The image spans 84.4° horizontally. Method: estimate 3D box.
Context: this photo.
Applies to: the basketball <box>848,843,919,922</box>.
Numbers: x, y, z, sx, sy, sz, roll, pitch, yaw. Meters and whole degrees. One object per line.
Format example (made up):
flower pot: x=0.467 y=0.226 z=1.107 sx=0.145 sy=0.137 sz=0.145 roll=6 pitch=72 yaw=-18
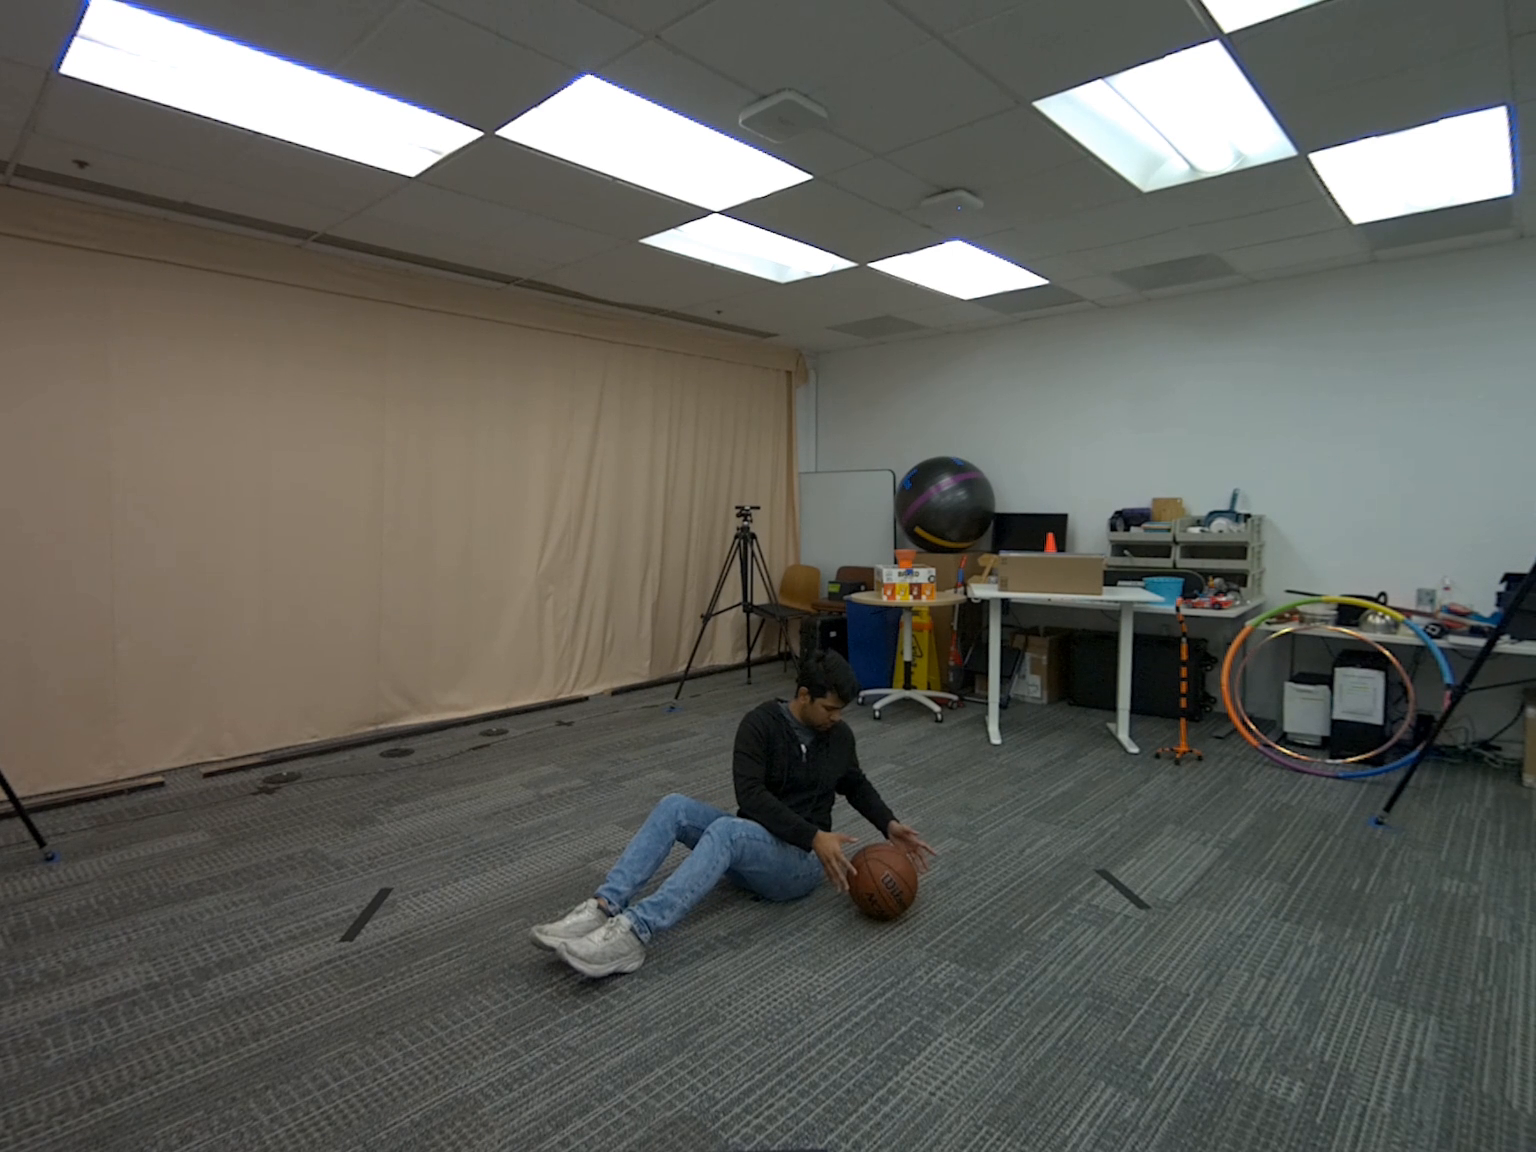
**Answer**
basketball: x=0.388 y=1.026 z=2.858 sx=0.236 sy=0.235 sz=0.237 roll=0 pitch=4 yaw=-2
